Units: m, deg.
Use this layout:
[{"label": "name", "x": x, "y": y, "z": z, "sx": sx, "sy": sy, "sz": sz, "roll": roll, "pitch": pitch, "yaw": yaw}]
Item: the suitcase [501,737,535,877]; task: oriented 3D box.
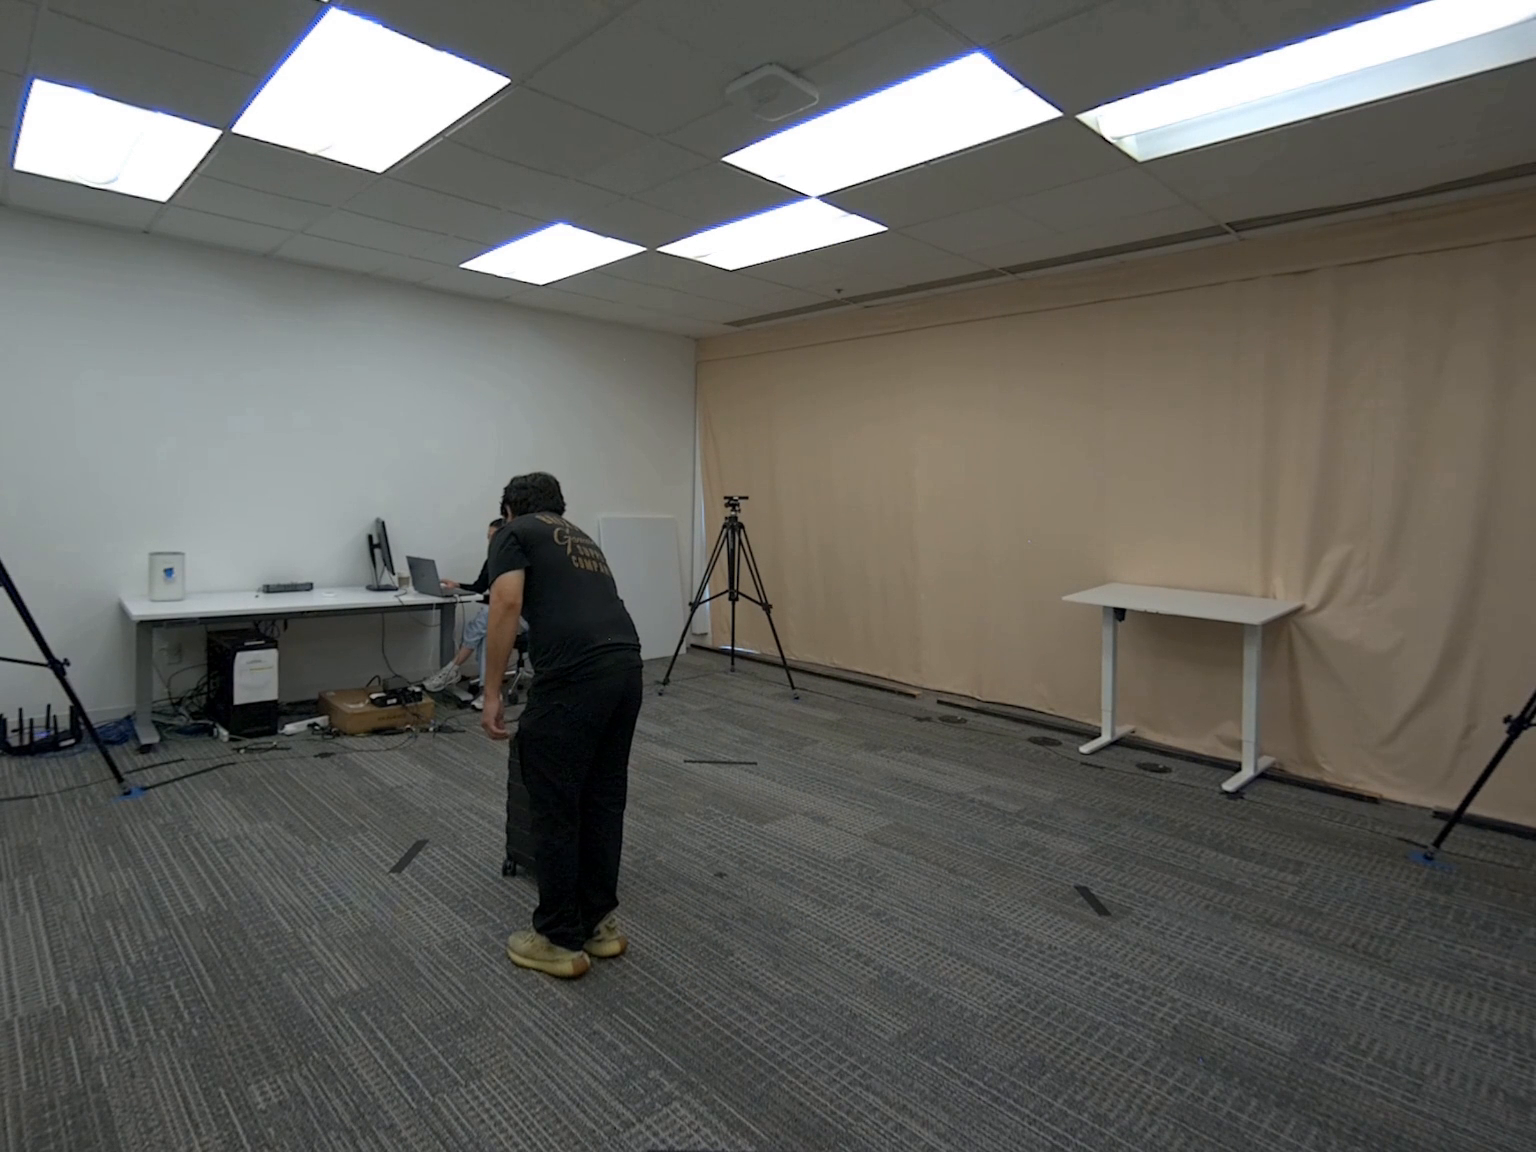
[{"label": "suitcase", "x": -0.765, "y": 0.824, "z": 3.063, "sx": 0.385, "sy": 0.548, "sz": 0.243, "roll": 5, "pitch": 5, "yaw": 39}]
